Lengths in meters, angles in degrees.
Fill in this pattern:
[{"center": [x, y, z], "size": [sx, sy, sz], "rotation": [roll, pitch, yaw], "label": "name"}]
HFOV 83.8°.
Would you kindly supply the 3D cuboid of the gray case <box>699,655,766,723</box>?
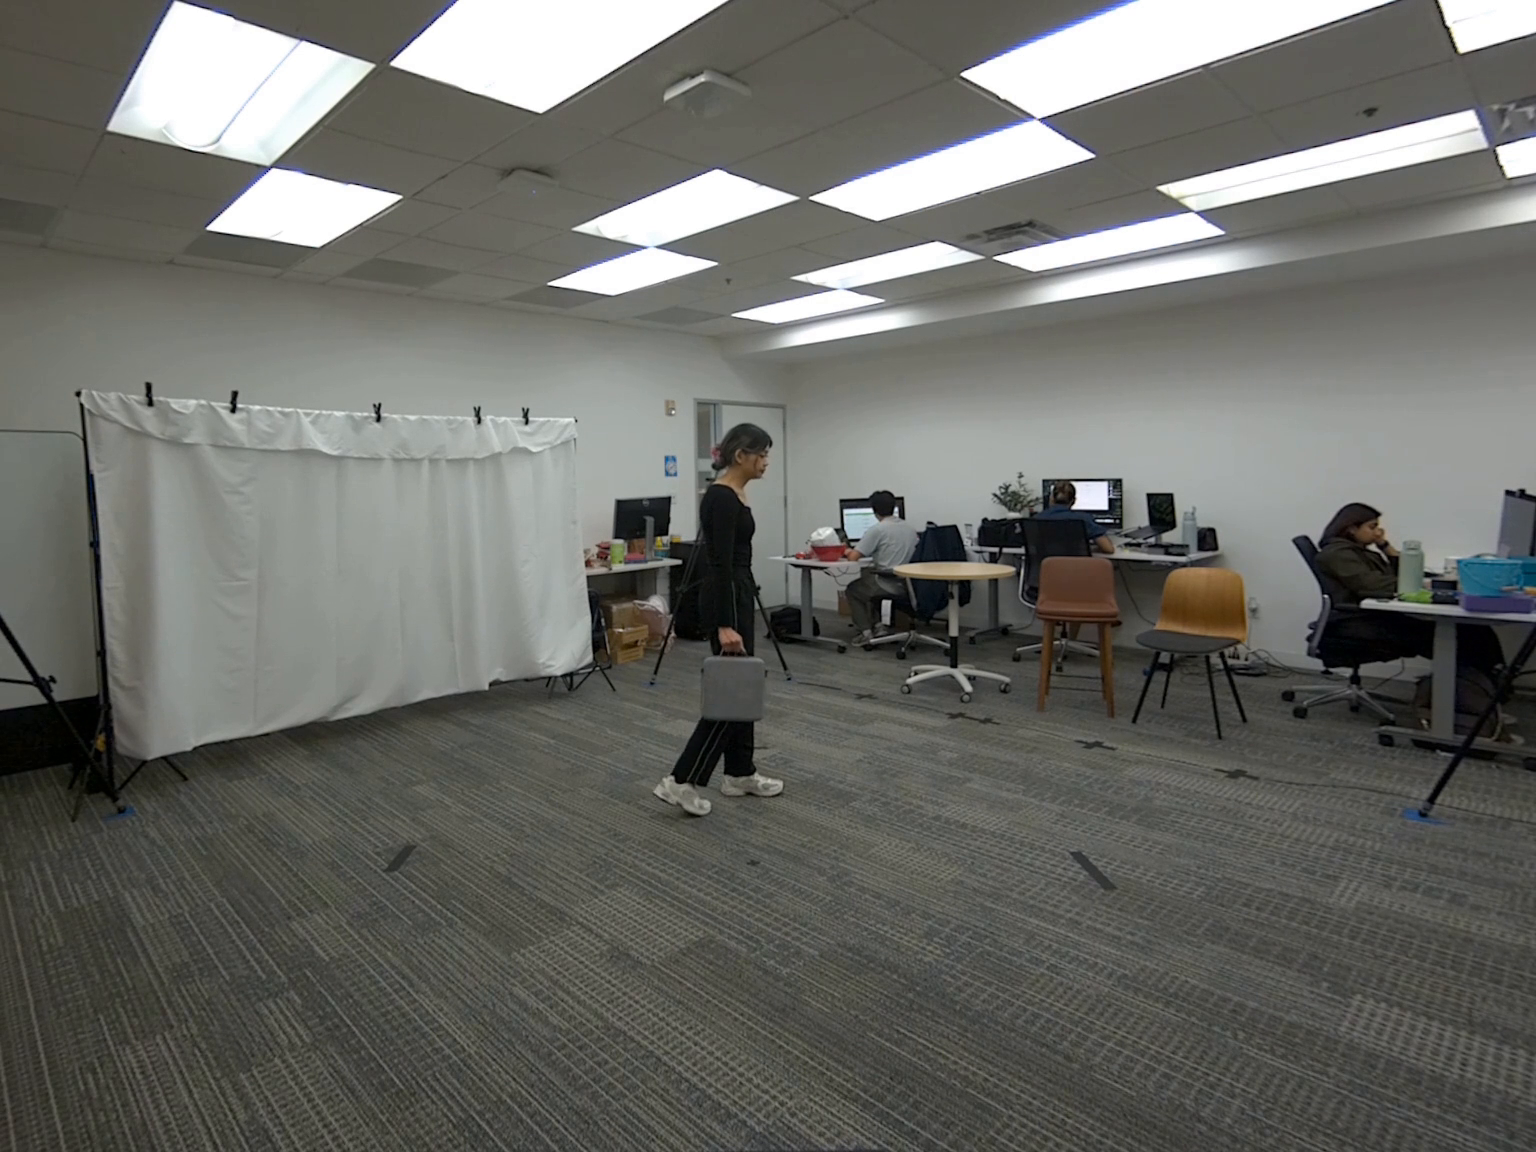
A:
[{"center": [-0.144, 0.454, 3.471], "size": [0.256, 0.261, 0.104], "rotation": [1, -3, -2], "label": "gray case"}]
